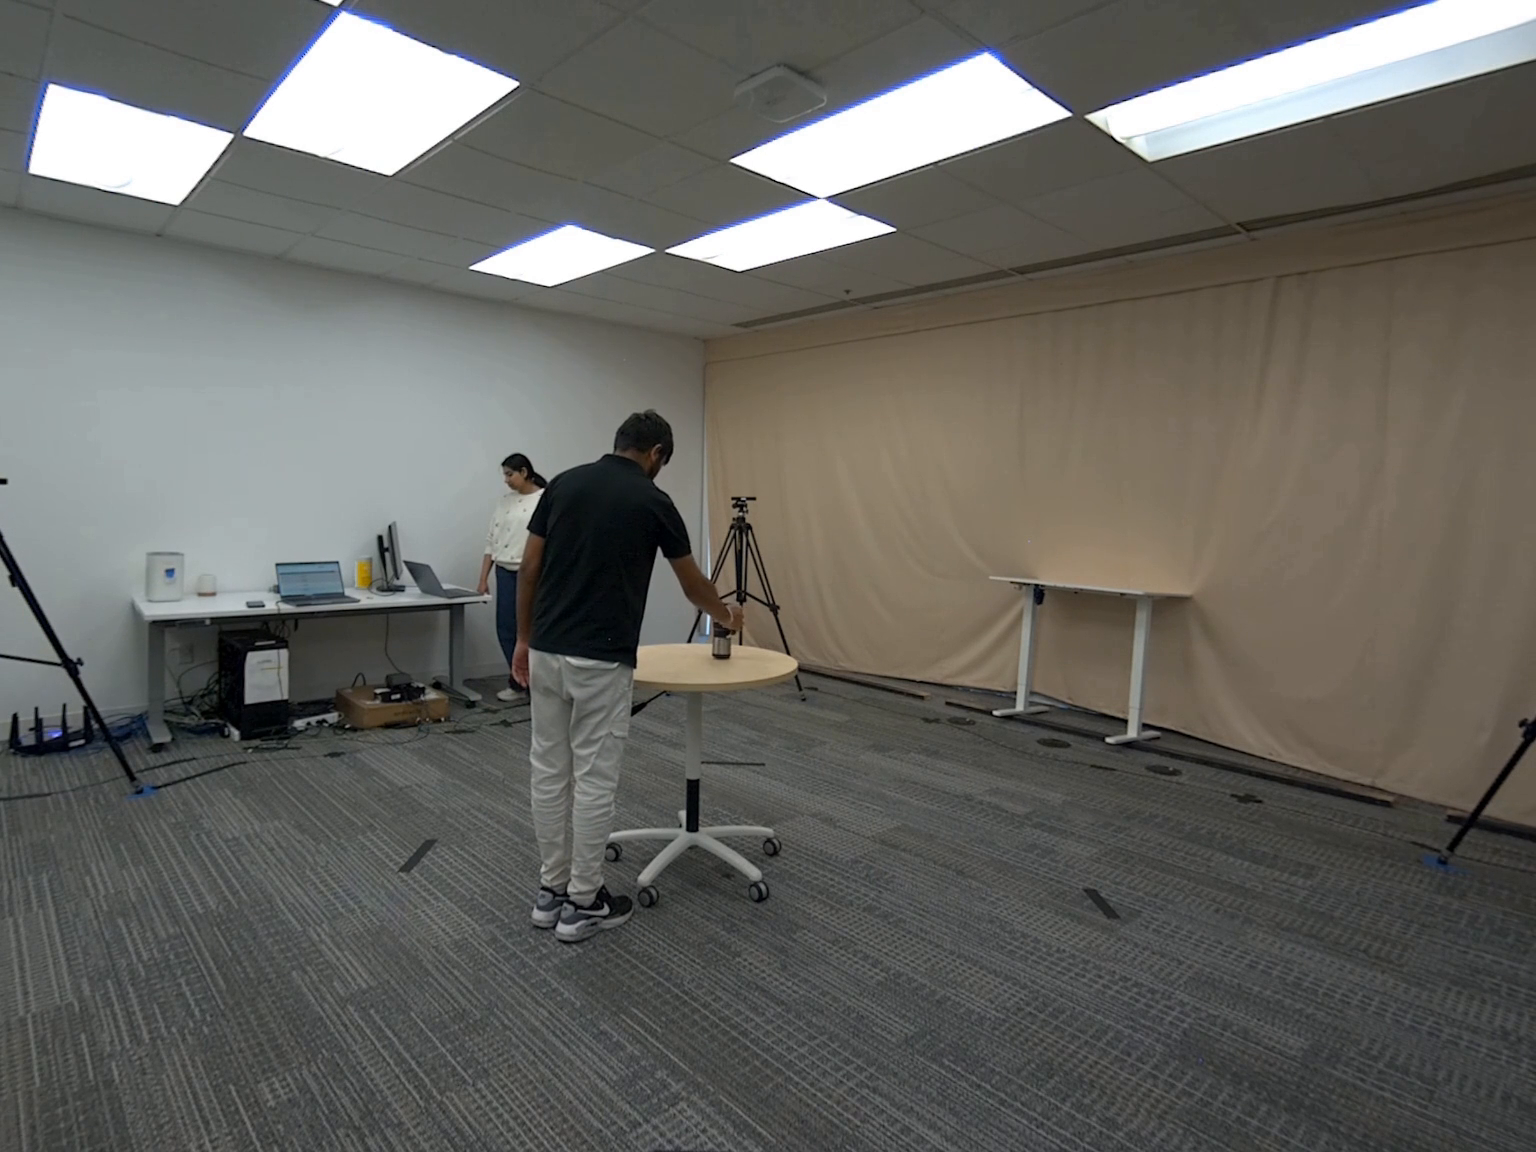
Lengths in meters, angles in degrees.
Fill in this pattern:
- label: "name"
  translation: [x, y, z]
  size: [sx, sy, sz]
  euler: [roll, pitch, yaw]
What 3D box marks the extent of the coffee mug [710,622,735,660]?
- label: "coffee mug"
  translation: [-0.196, 0.200, 3.194]
  size: [0.119, 0.203, 0.090]
  euler: [8, -1, -36]
